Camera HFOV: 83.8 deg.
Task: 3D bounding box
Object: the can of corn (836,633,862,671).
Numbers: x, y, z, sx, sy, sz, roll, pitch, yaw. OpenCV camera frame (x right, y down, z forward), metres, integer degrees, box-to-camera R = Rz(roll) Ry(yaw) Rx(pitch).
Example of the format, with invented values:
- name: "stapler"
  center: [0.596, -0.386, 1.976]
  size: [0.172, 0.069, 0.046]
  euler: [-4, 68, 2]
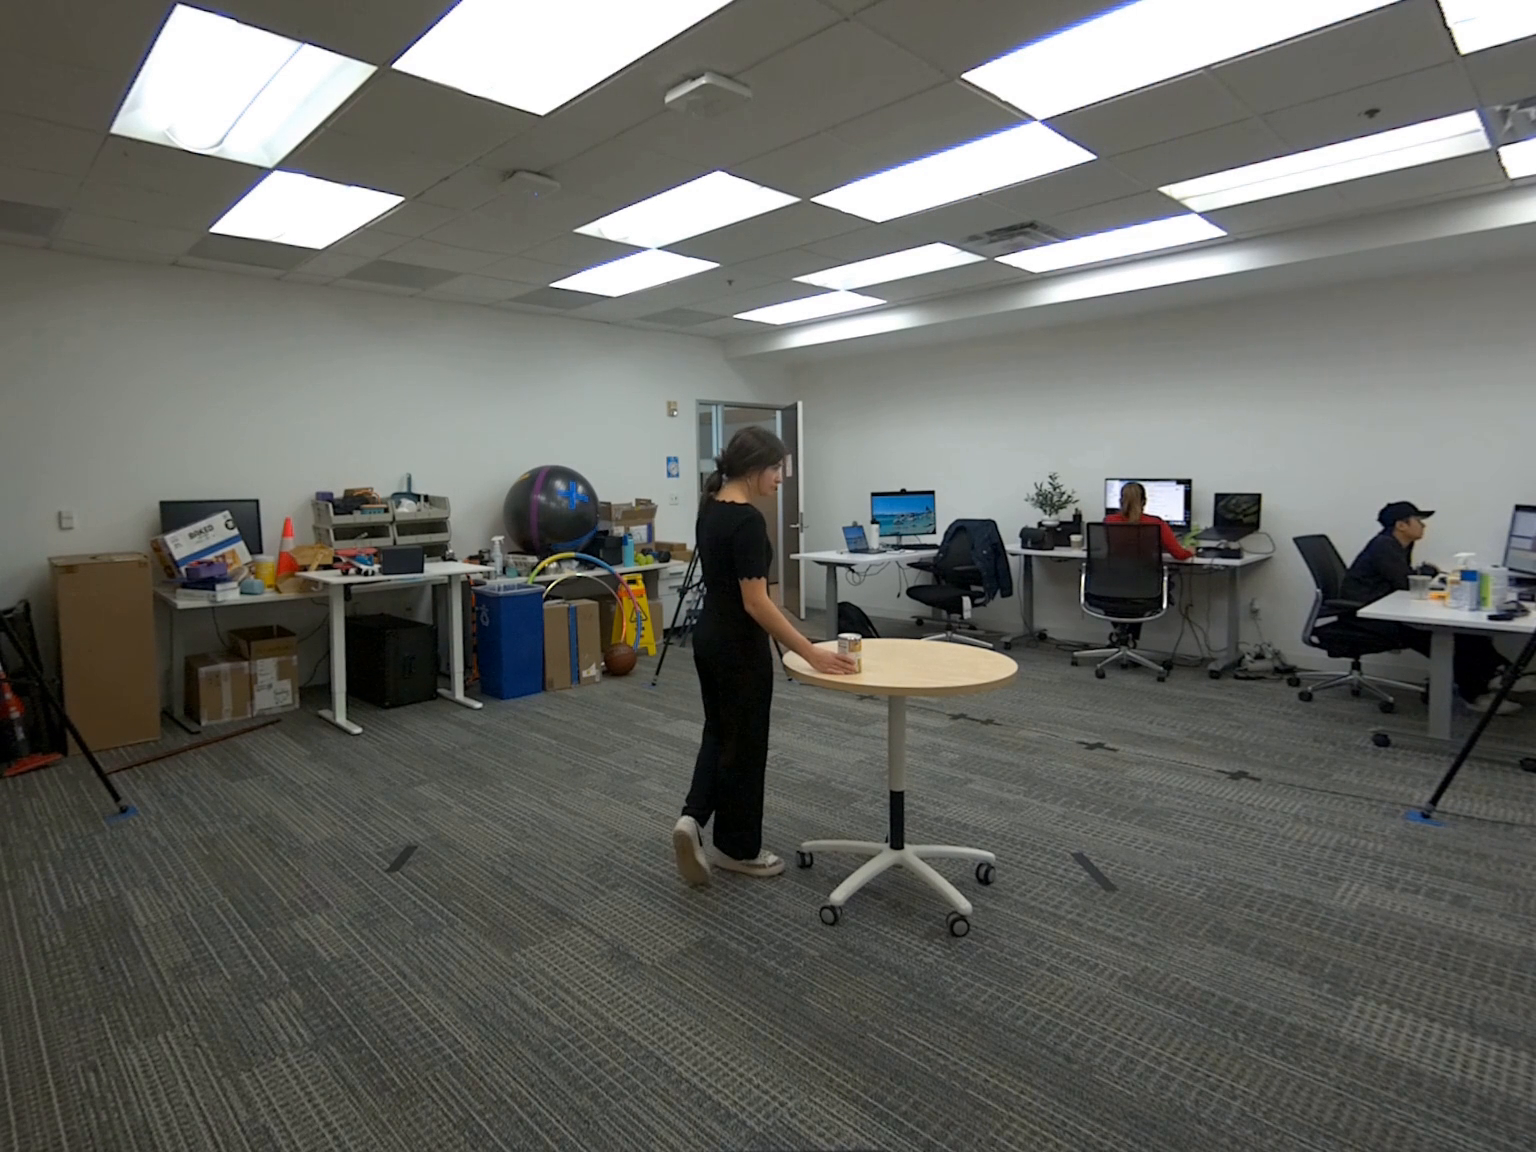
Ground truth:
- name: "can of corn"
  center: [0.256, 0.246, 2.686]
  size: [0.074, 0.110, 0.075]
  euler: [-1, 8, -2]
